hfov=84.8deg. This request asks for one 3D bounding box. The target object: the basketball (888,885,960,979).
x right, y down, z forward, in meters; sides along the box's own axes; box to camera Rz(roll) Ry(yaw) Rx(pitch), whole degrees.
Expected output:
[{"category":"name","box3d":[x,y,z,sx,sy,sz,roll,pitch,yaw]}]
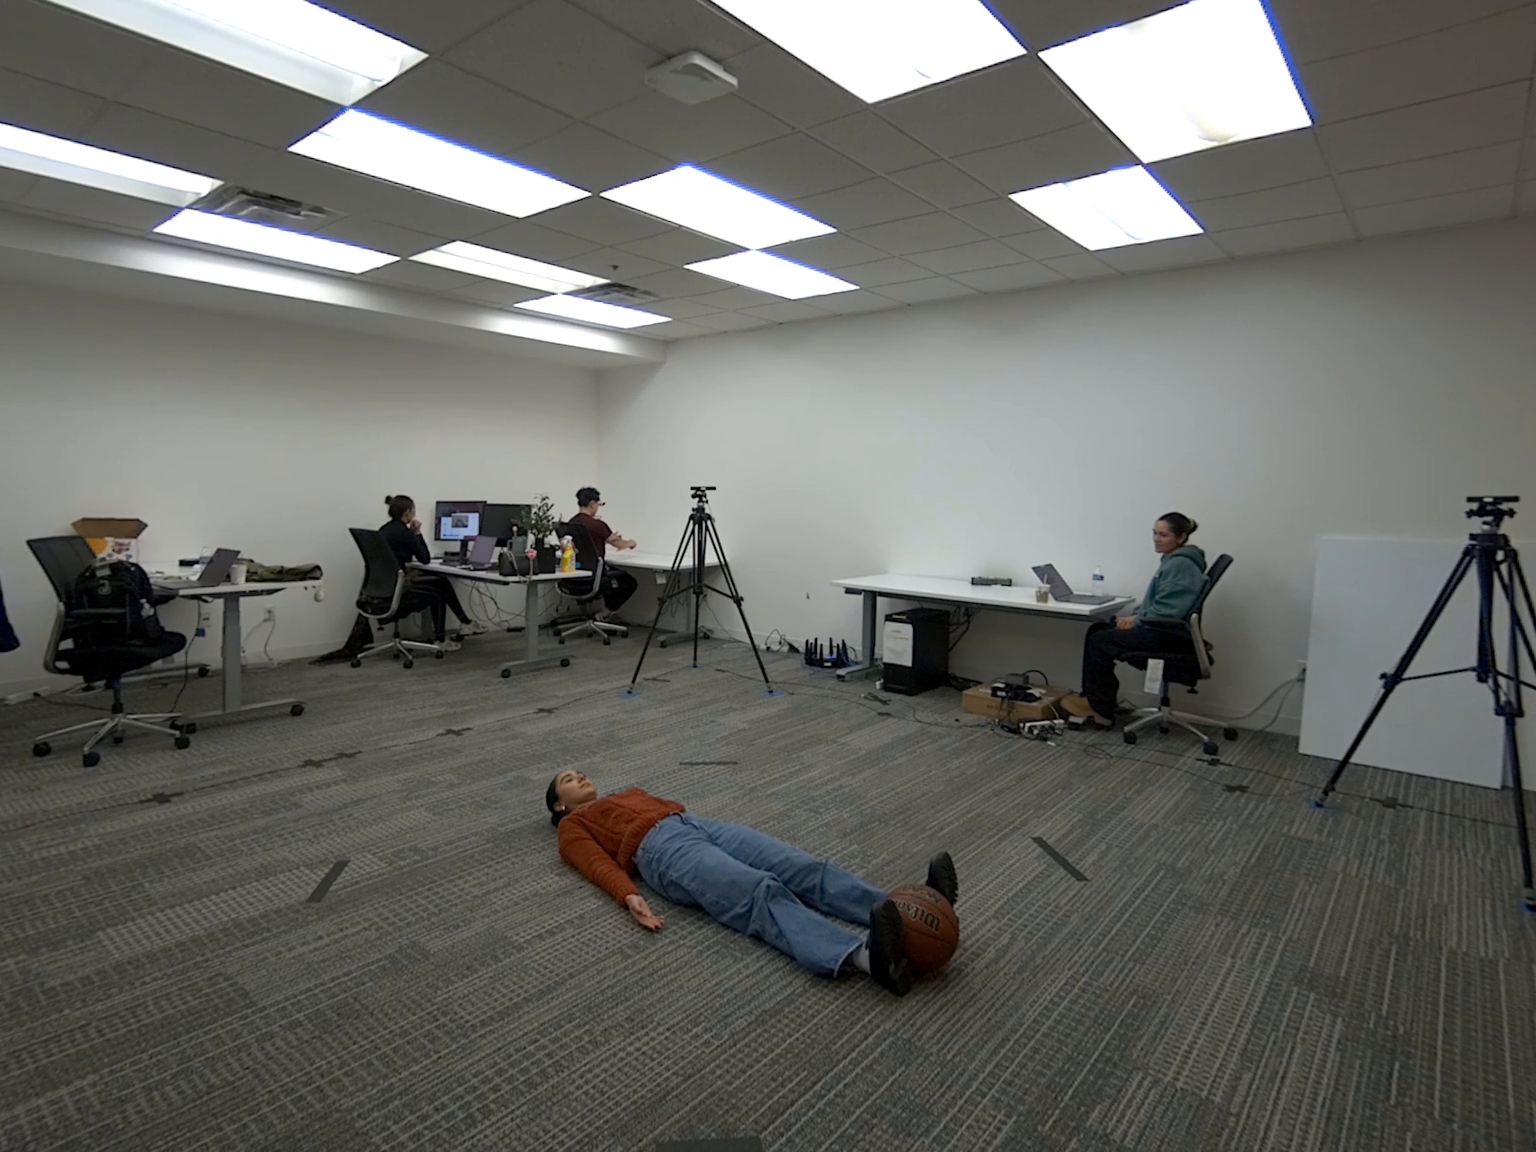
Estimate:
[{"category":"basketball","box3d":[0.435,1.019,2.487,0.236,0.235,0.237,1,4,-2]}]
